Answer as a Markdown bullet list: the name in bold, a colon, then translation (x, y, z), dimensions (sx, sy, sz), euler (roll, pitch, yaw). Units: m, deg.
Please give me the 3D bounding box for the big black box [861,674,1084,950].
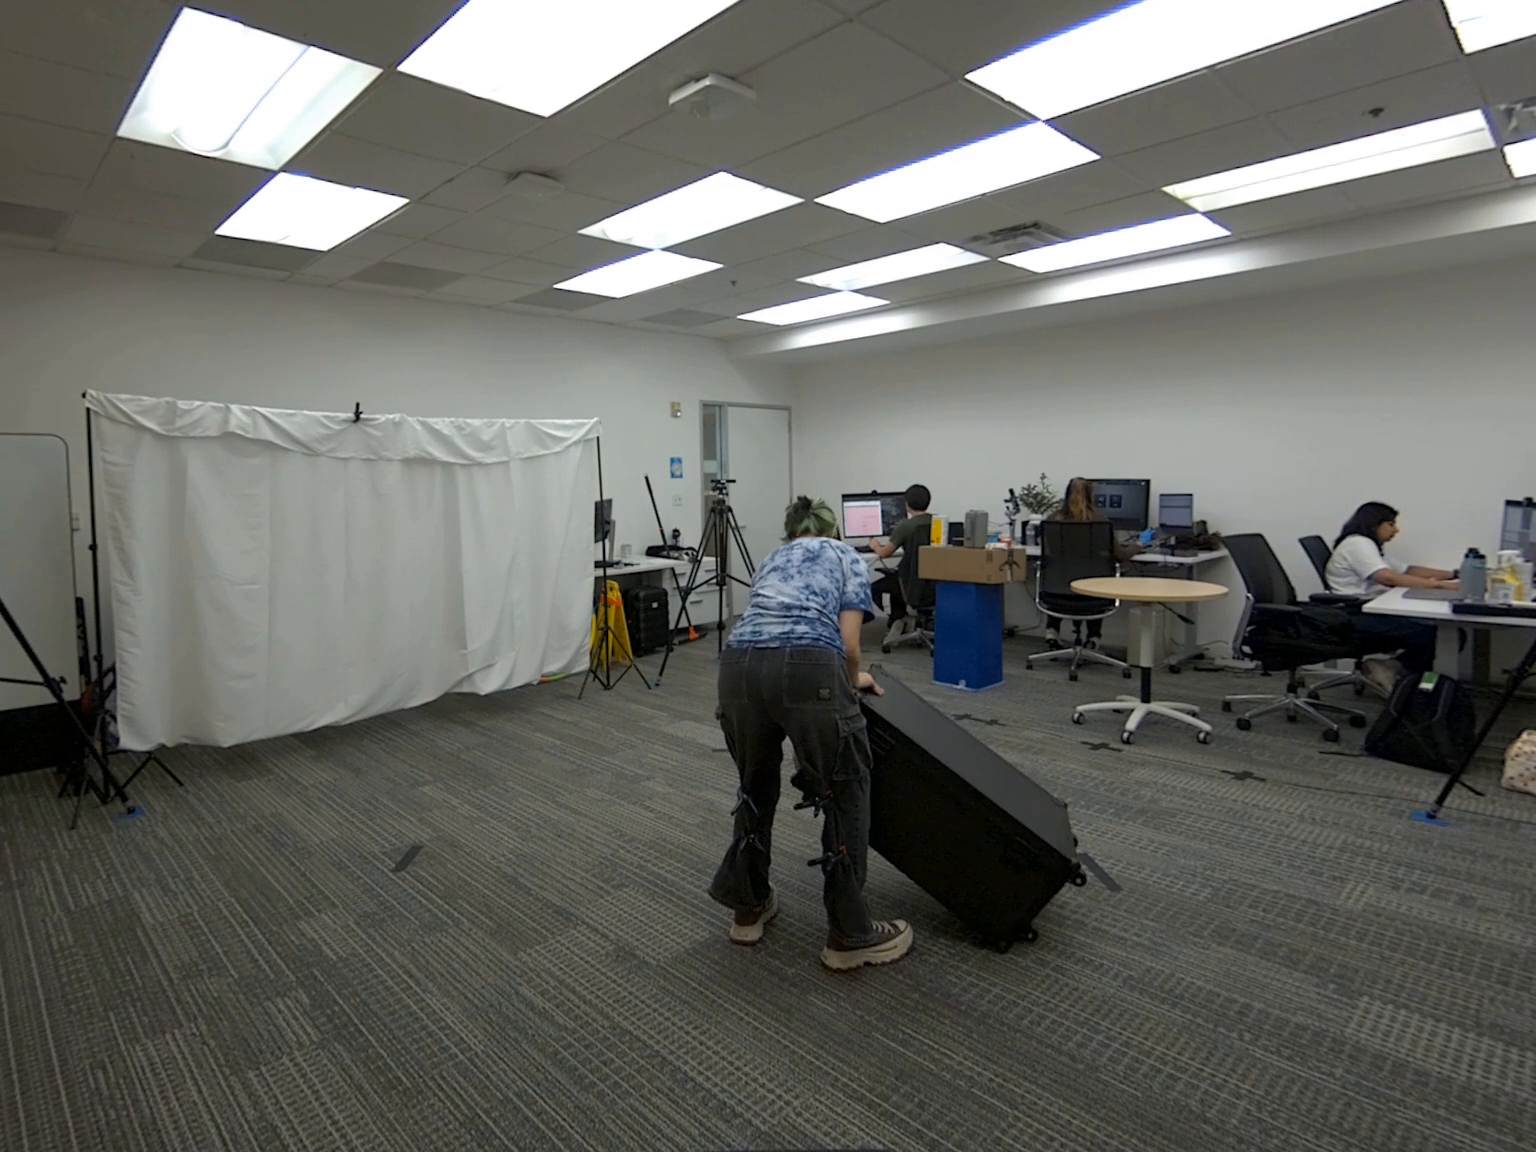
- **big black box**: translation (0.553, 0.730, 2.759), dimensions (0.876, 0.395, 0.514), euler (36, 14, 12)
